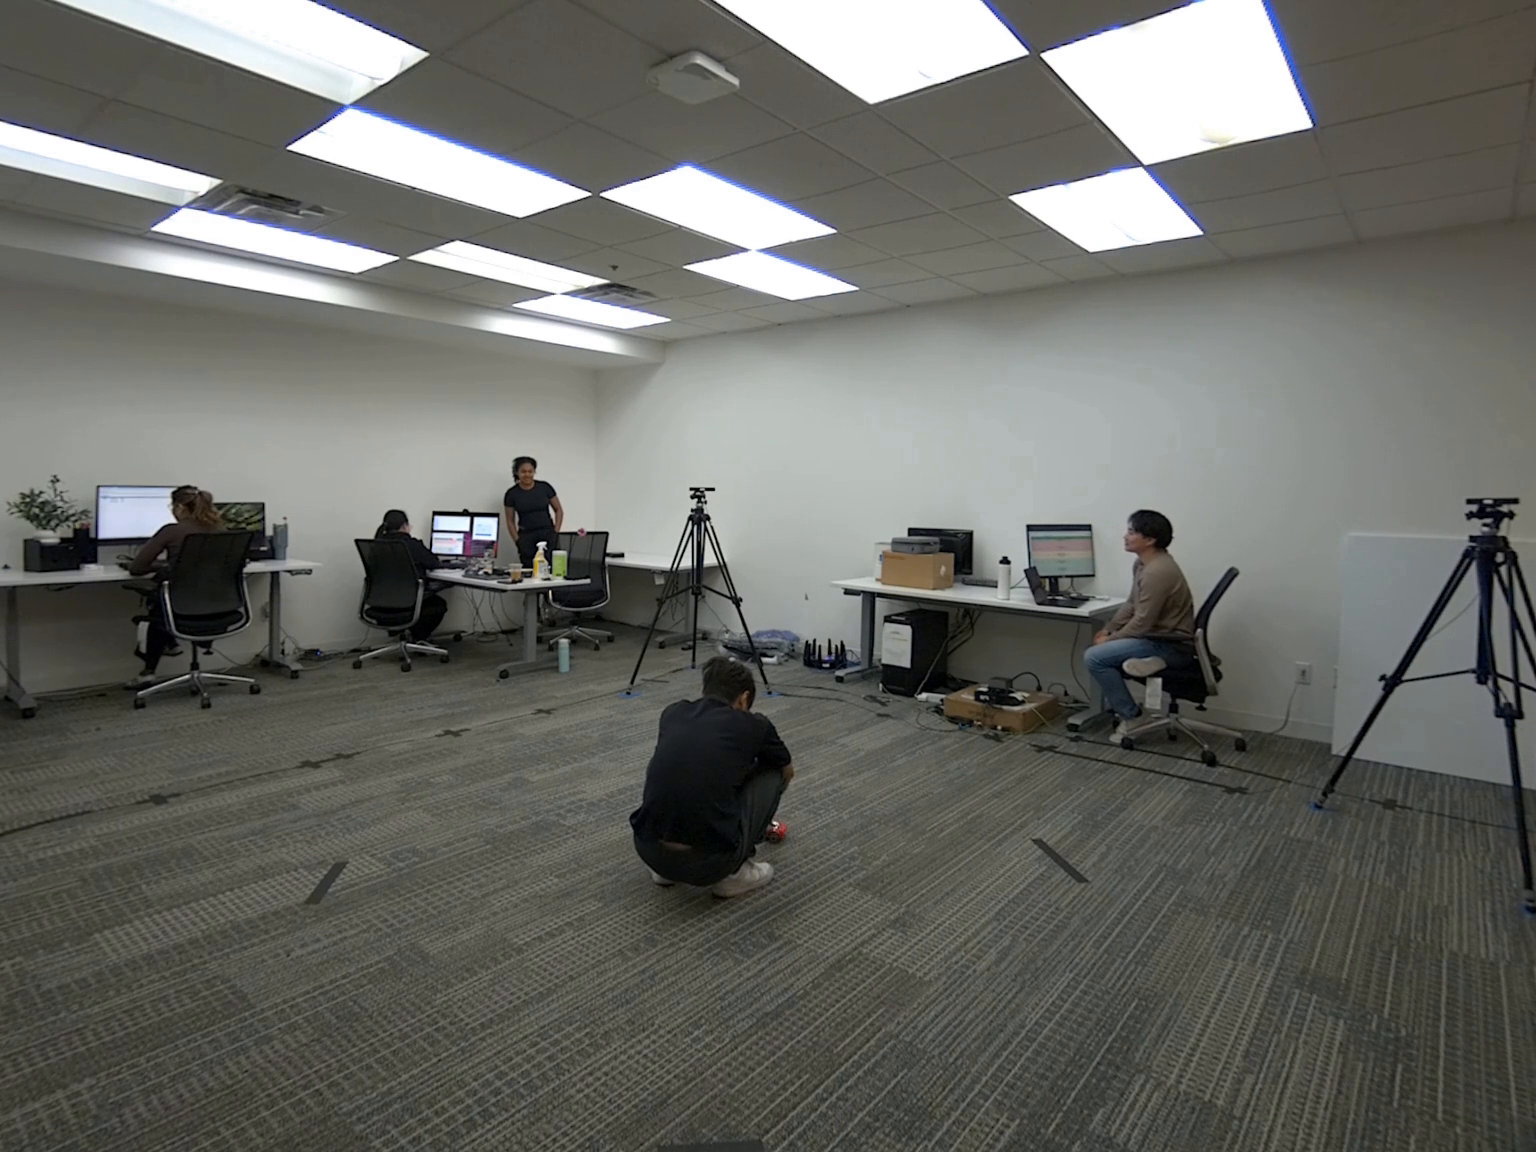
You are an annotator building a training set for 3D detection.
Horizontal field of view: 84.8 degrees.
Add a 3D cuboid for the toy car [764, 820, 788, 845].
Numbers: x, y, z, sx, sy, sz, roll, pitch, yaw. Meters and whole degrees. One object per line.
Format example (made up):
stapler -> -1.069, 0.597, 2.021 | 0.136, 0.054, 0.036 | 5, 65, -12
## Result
toy car -> -0.068, 1.007, 3.424 | 0.259, 0.083, 0.128 | 12, 6, 15
